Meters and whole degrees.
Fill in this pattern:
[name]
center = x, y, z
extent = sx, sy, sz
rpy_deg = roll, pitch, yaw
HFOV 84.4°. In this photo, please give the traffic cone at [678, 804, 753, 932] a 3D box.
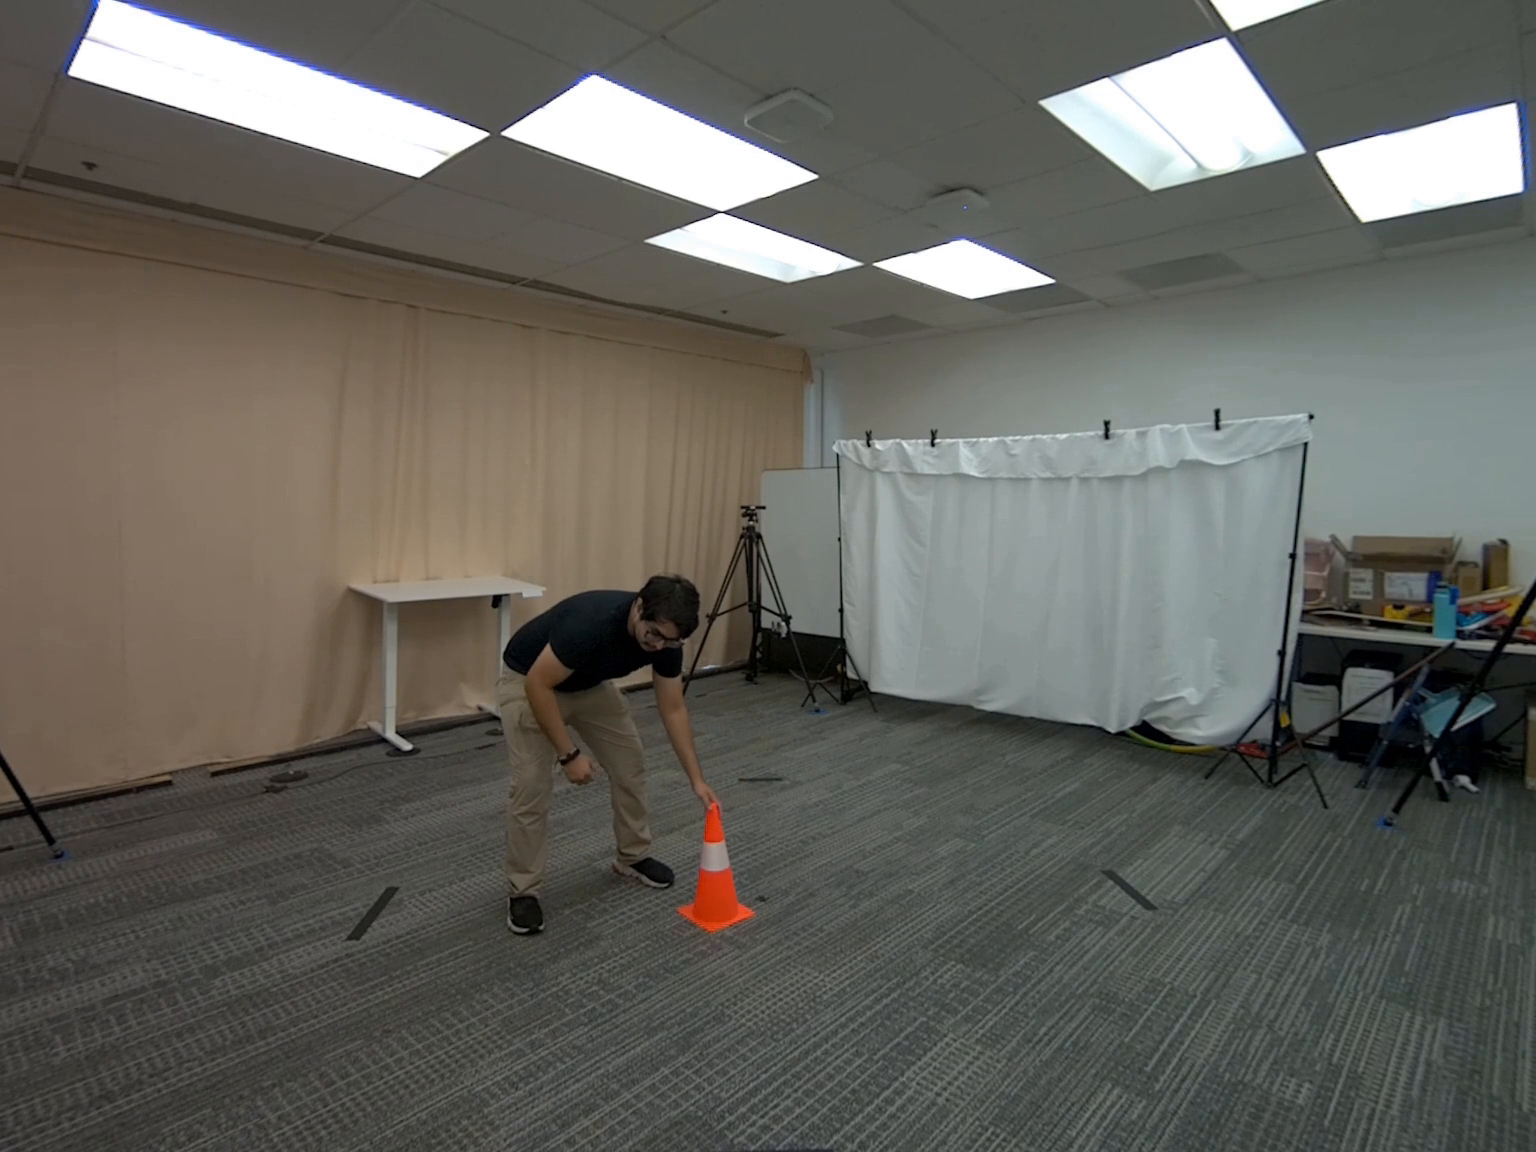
[traffic cone]
center = -0.184, 0.971, 2.870
extent = 0.197, 0.383, 0.211
rpy_deg = -3, 3, -38
